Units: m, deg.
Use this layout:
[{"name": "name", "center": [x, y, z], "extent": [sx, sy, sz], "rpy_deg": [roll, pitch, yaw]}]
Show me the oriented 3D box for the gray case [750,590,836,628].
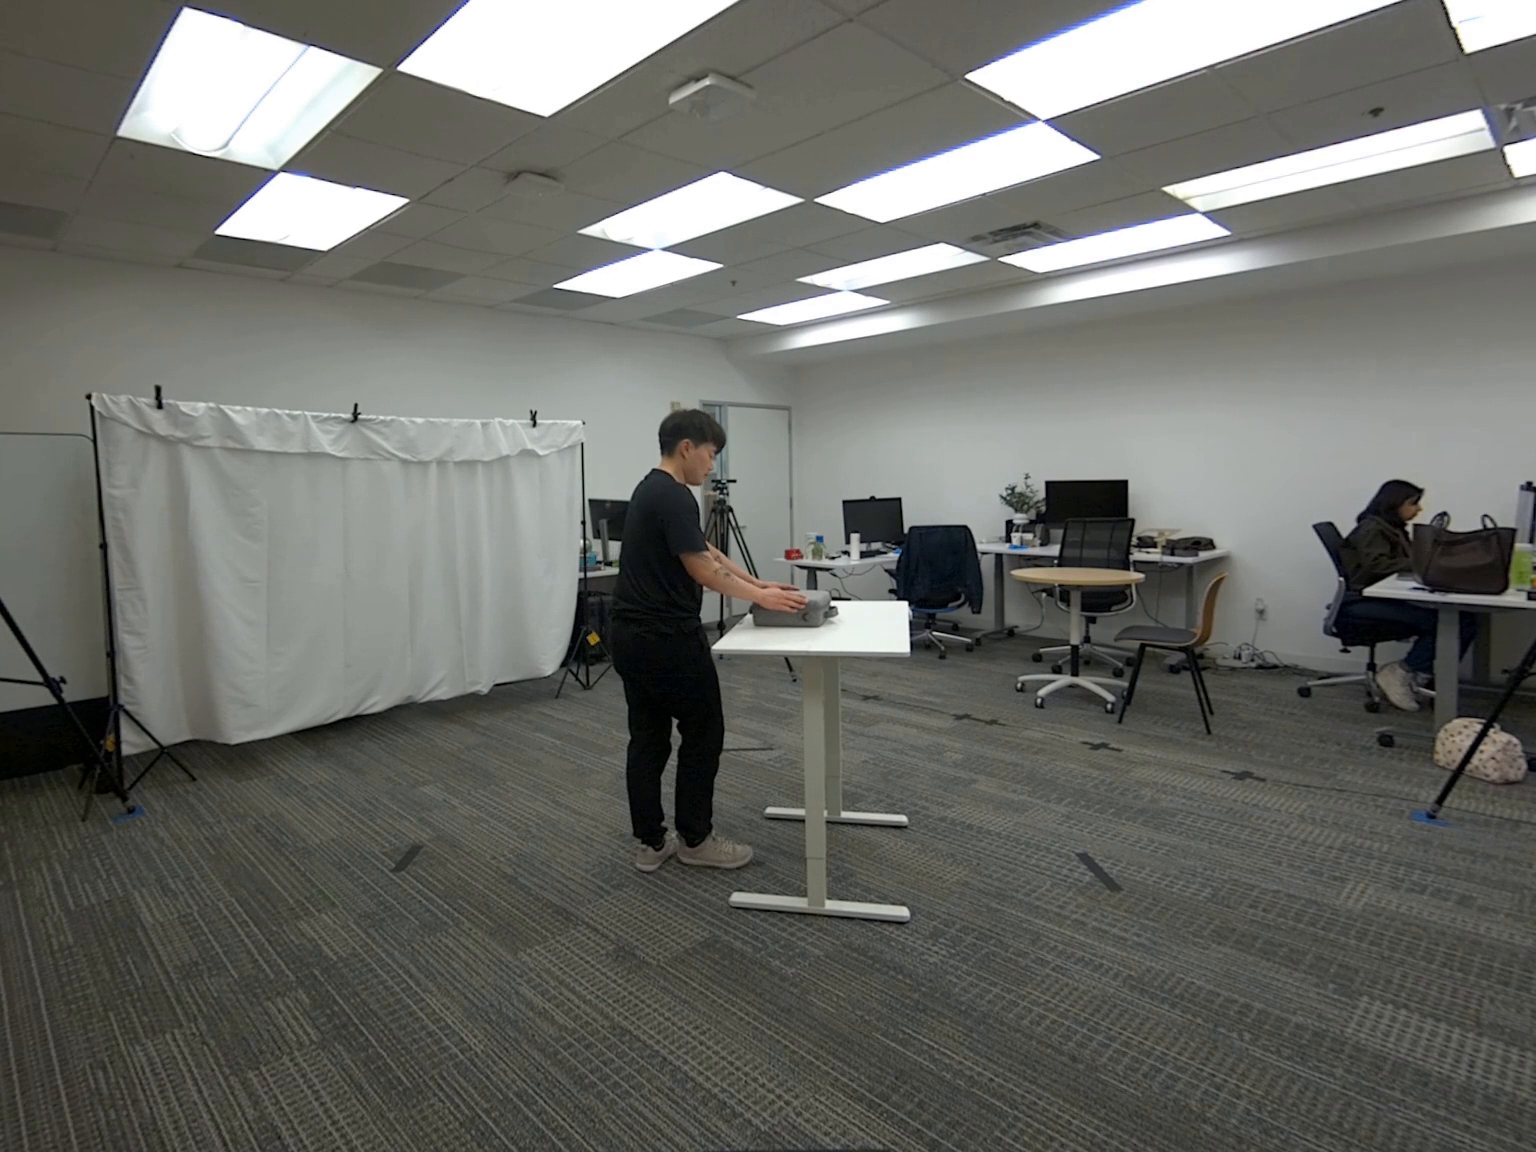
[{"name": "gray case", "center": [0.096, 0.114, 3.081], "extent": [0.264, 0.104, 0.254], "rpy_deg": [0, 5, 14]}]
